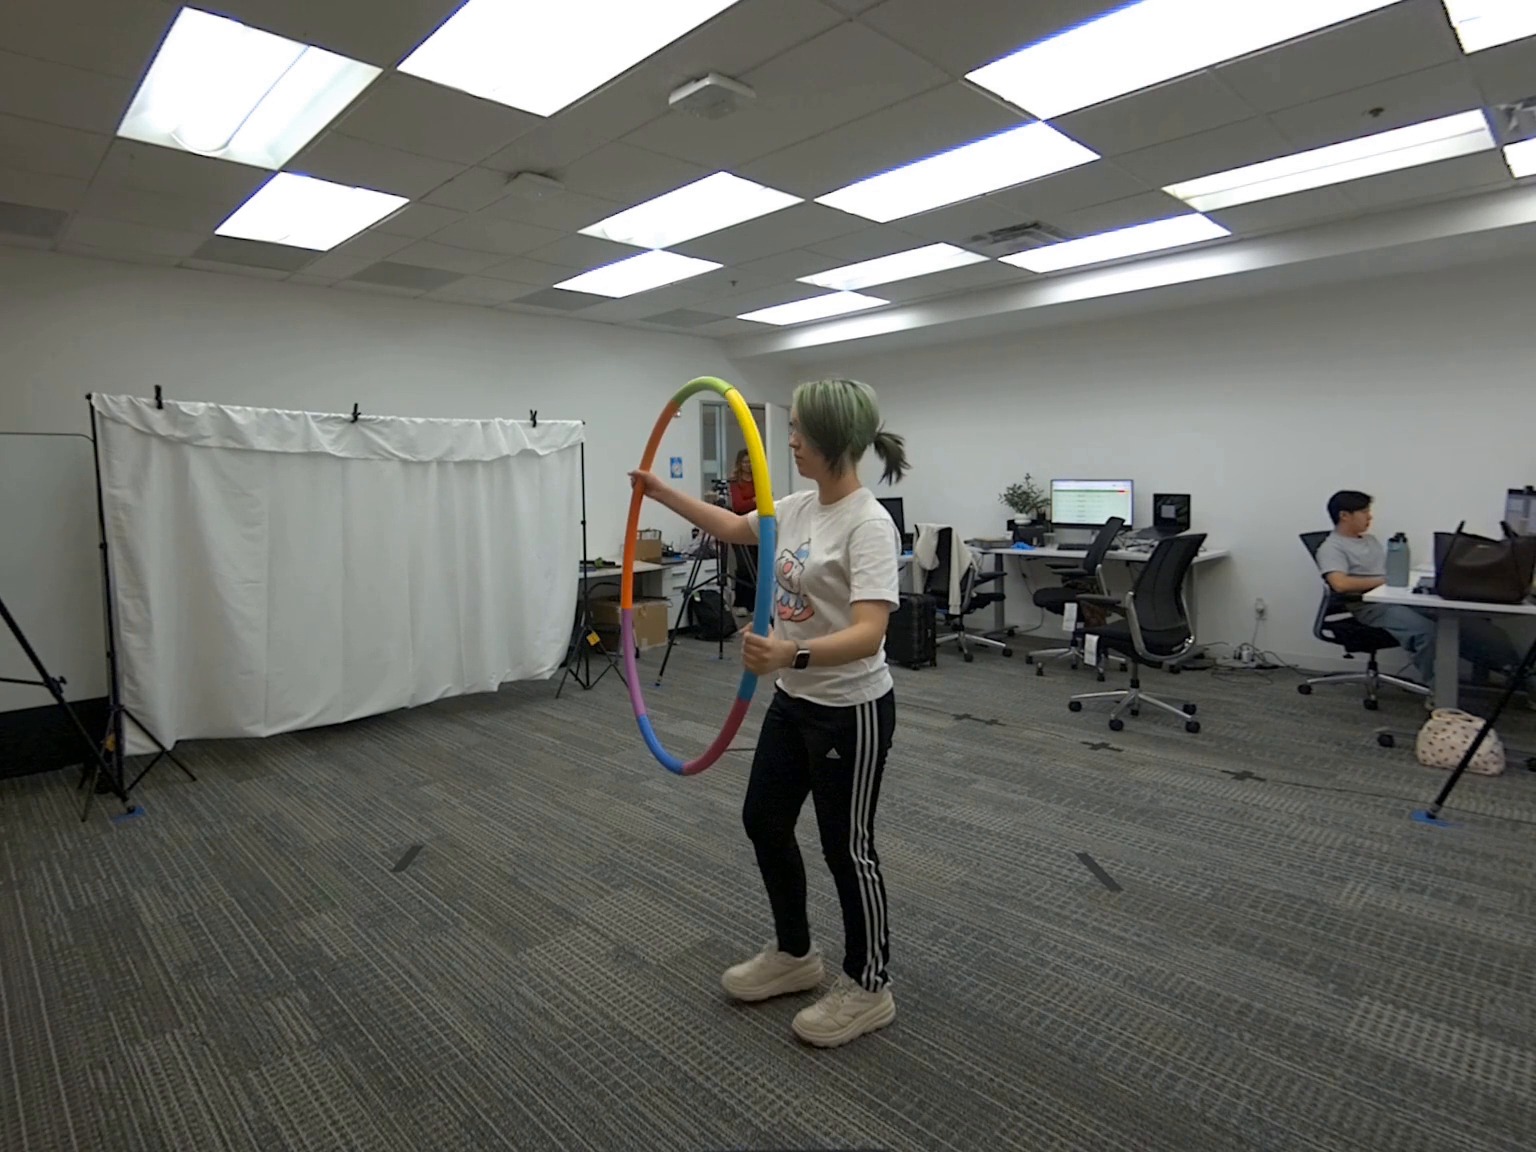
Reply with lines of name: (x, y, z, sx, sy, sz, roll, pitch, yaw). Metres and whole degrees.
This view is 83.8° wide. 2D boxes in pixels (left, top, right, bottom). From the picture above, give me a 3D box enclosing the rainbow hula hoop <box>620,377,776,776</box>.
rainbow hula hoop: (-0.215, -0.003, 2.152, 0.035, 0.978, 1.003, 5, 2, -26)
